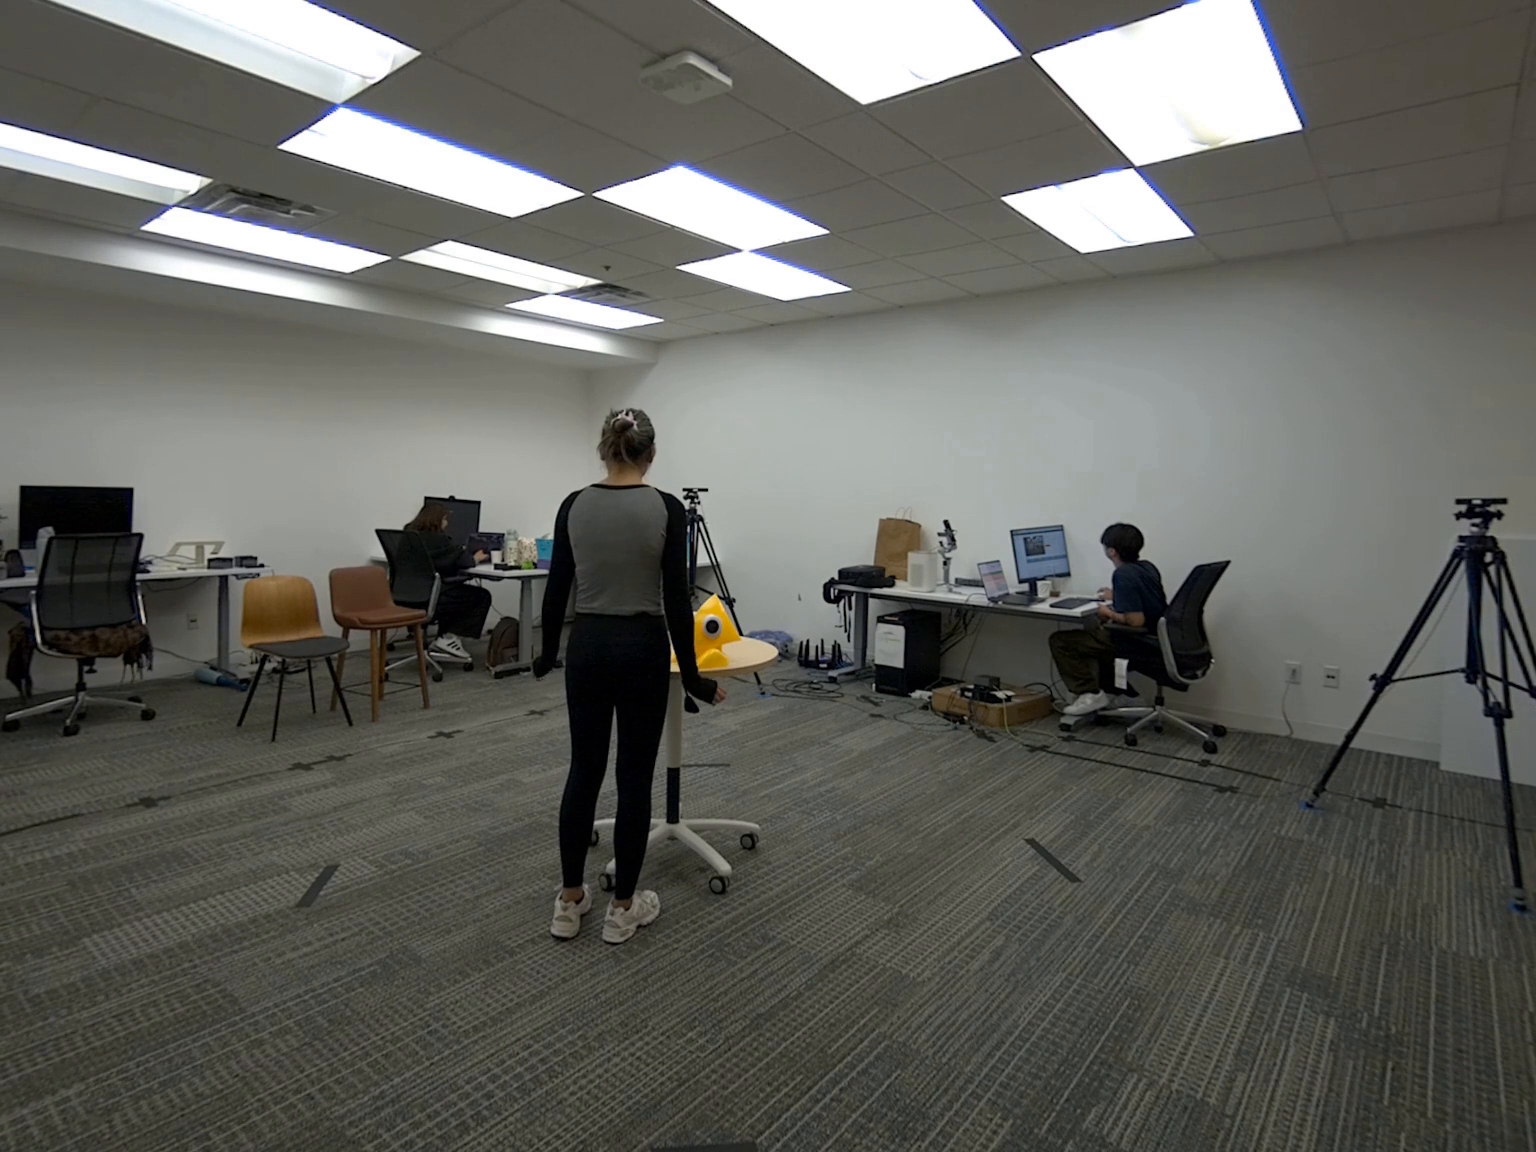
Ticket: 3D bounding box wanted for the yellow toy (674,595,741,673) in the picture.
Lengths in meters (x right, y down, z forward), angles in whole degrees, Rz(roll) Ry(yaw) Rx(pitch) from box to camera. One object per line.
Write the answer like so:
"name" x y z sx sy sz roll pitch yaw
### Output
"yellow toy" -0.236 0.180 2.933 0.187 0.230 0.212 -4 7 -45
